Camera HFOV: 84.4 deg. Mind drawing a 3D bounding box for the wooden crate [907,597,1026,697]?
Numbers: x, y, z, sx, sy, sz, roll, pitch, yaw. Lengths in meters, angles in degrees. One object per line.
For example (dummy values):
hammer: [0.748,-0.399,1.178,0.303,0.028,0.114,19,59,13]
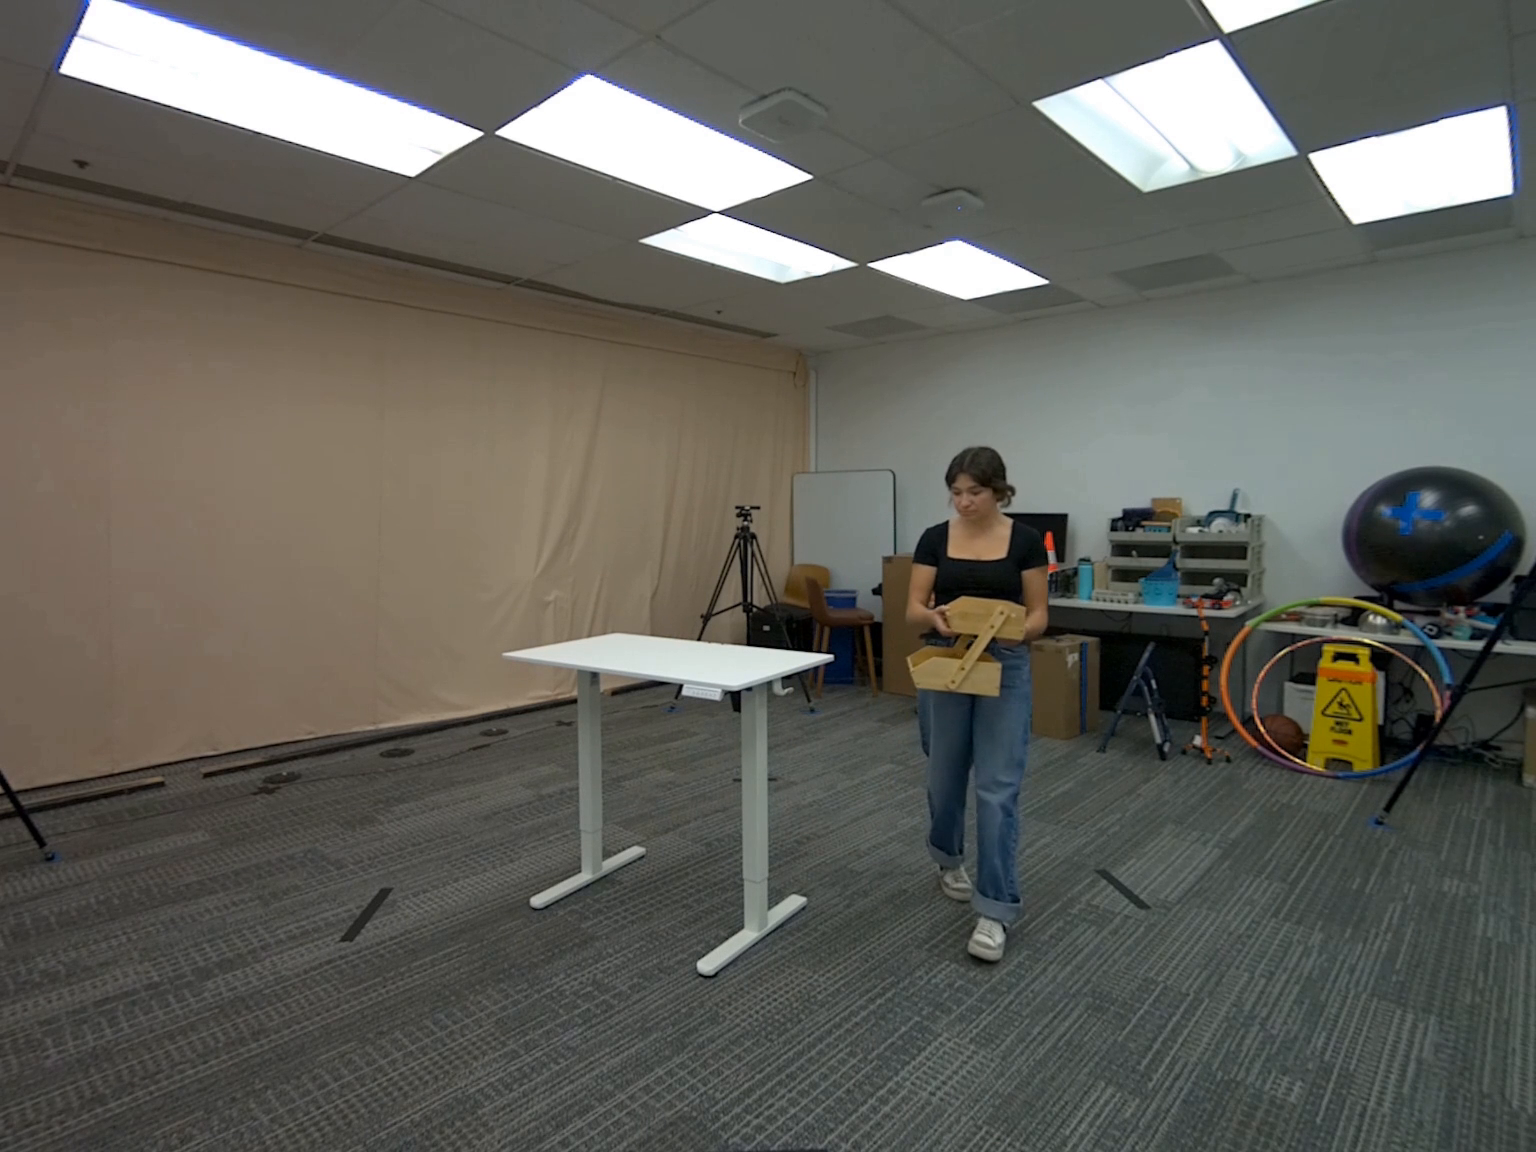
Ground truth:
wooden crate: [0.586,0.196,2.547,0.305,0.273,0.321,7,1,8]
